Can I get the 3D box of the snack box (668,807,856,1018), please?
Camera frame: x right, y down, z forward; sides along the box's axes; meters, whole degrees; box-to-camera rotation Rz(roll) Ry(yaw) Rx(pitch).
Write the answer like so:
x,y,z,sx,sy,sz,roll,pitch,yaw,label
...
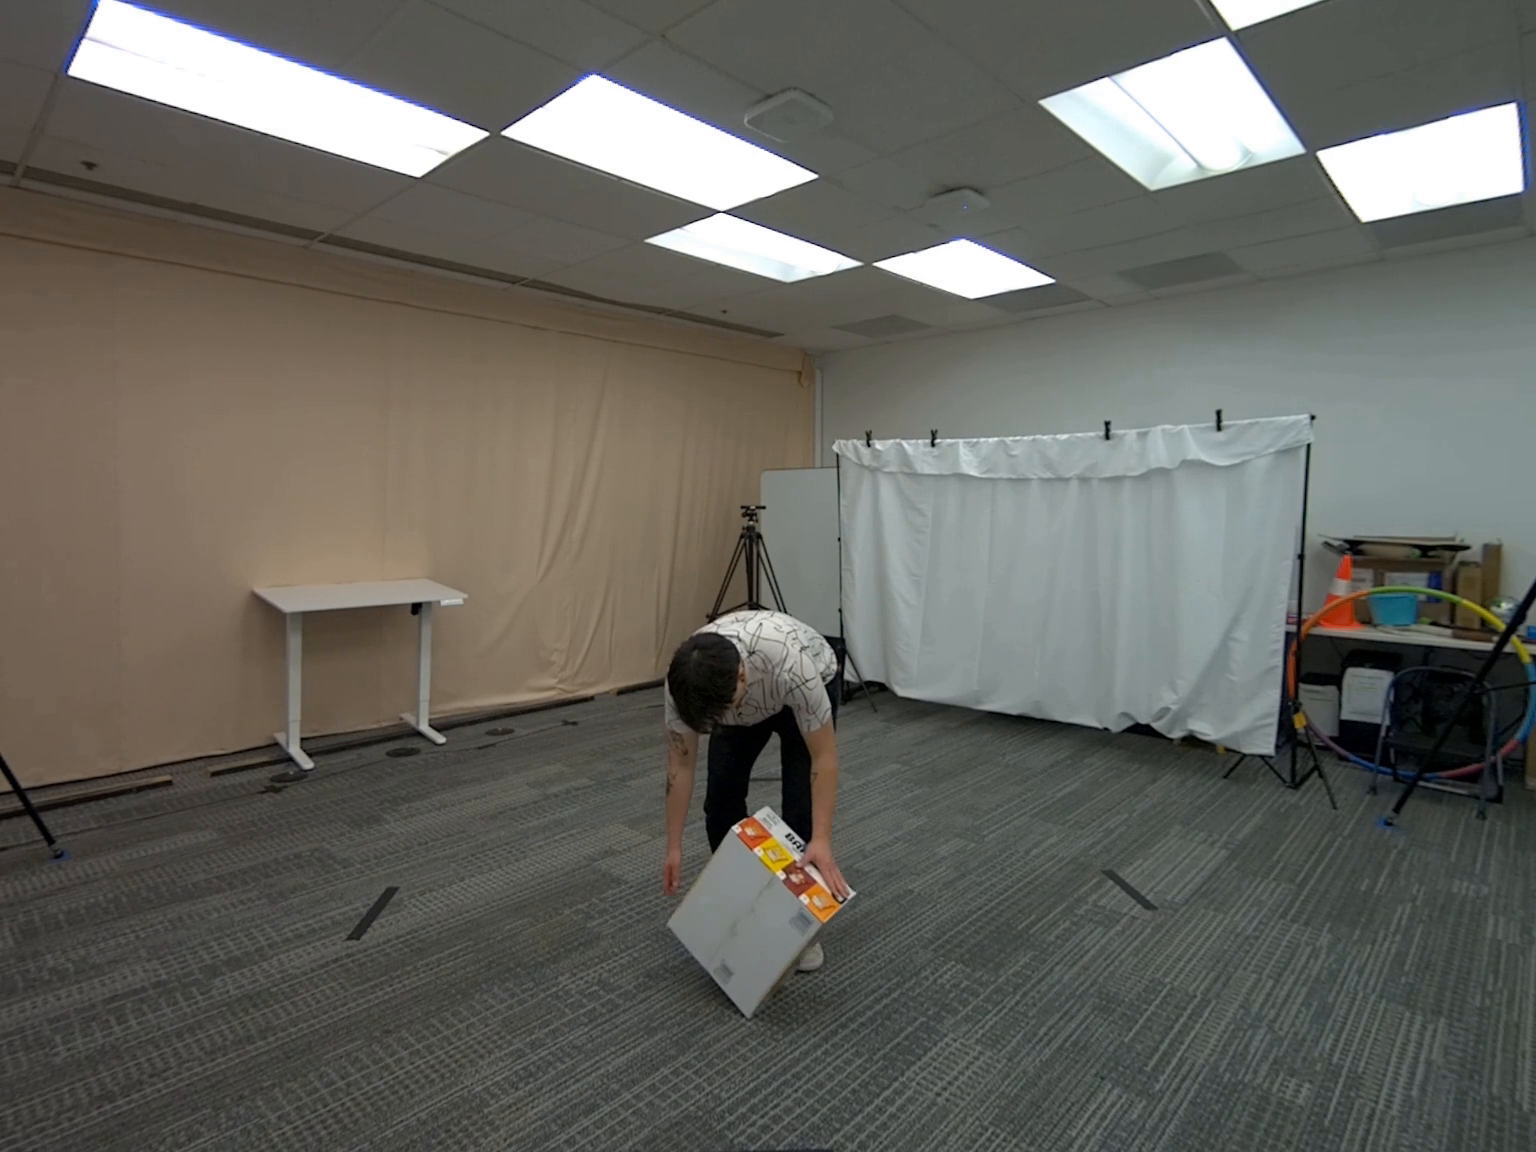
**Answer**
x,y,z,sx,sy,sz,roll,pitch,yaw,label
-0.025,0.936,2.361,0.350,0.405,0.200,40,23,24,snack box
